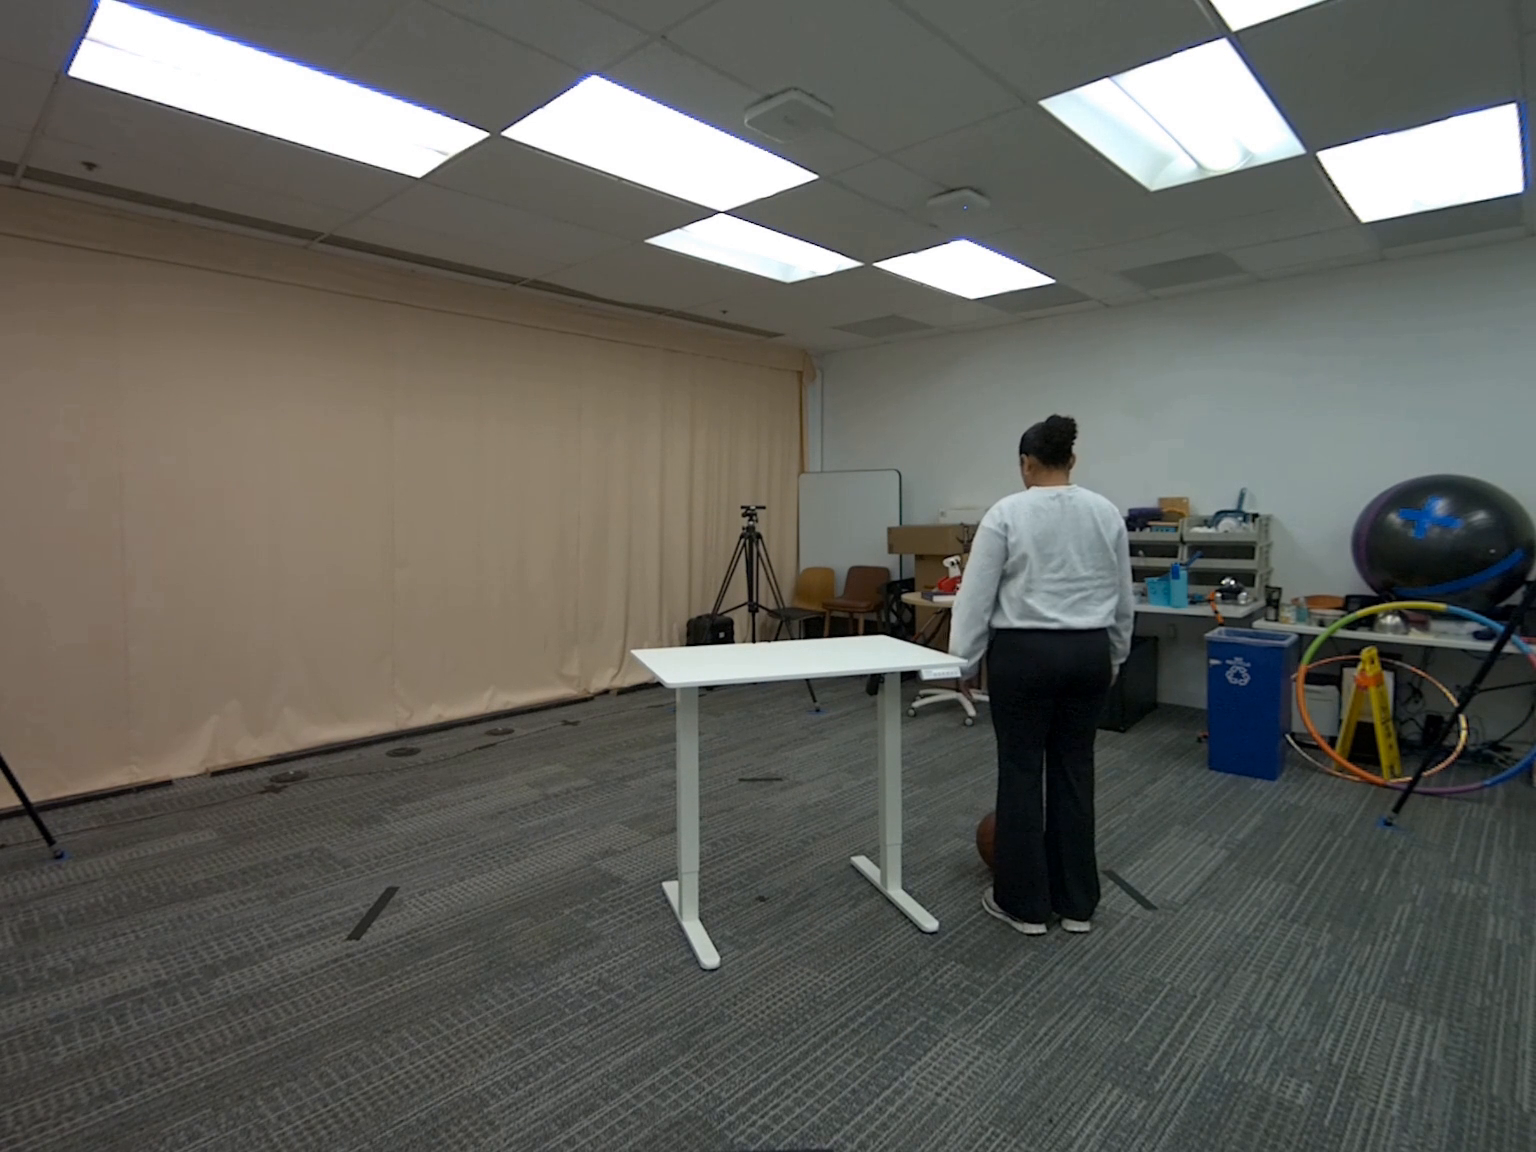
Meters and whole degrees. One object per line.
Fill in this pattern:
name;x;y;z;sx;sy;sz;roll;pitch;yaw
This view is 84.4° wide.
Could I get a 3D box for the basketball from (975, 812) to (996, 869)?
basketball;0.918;1.004;3.184;0.236;0.235;0.237;0;4;-2
